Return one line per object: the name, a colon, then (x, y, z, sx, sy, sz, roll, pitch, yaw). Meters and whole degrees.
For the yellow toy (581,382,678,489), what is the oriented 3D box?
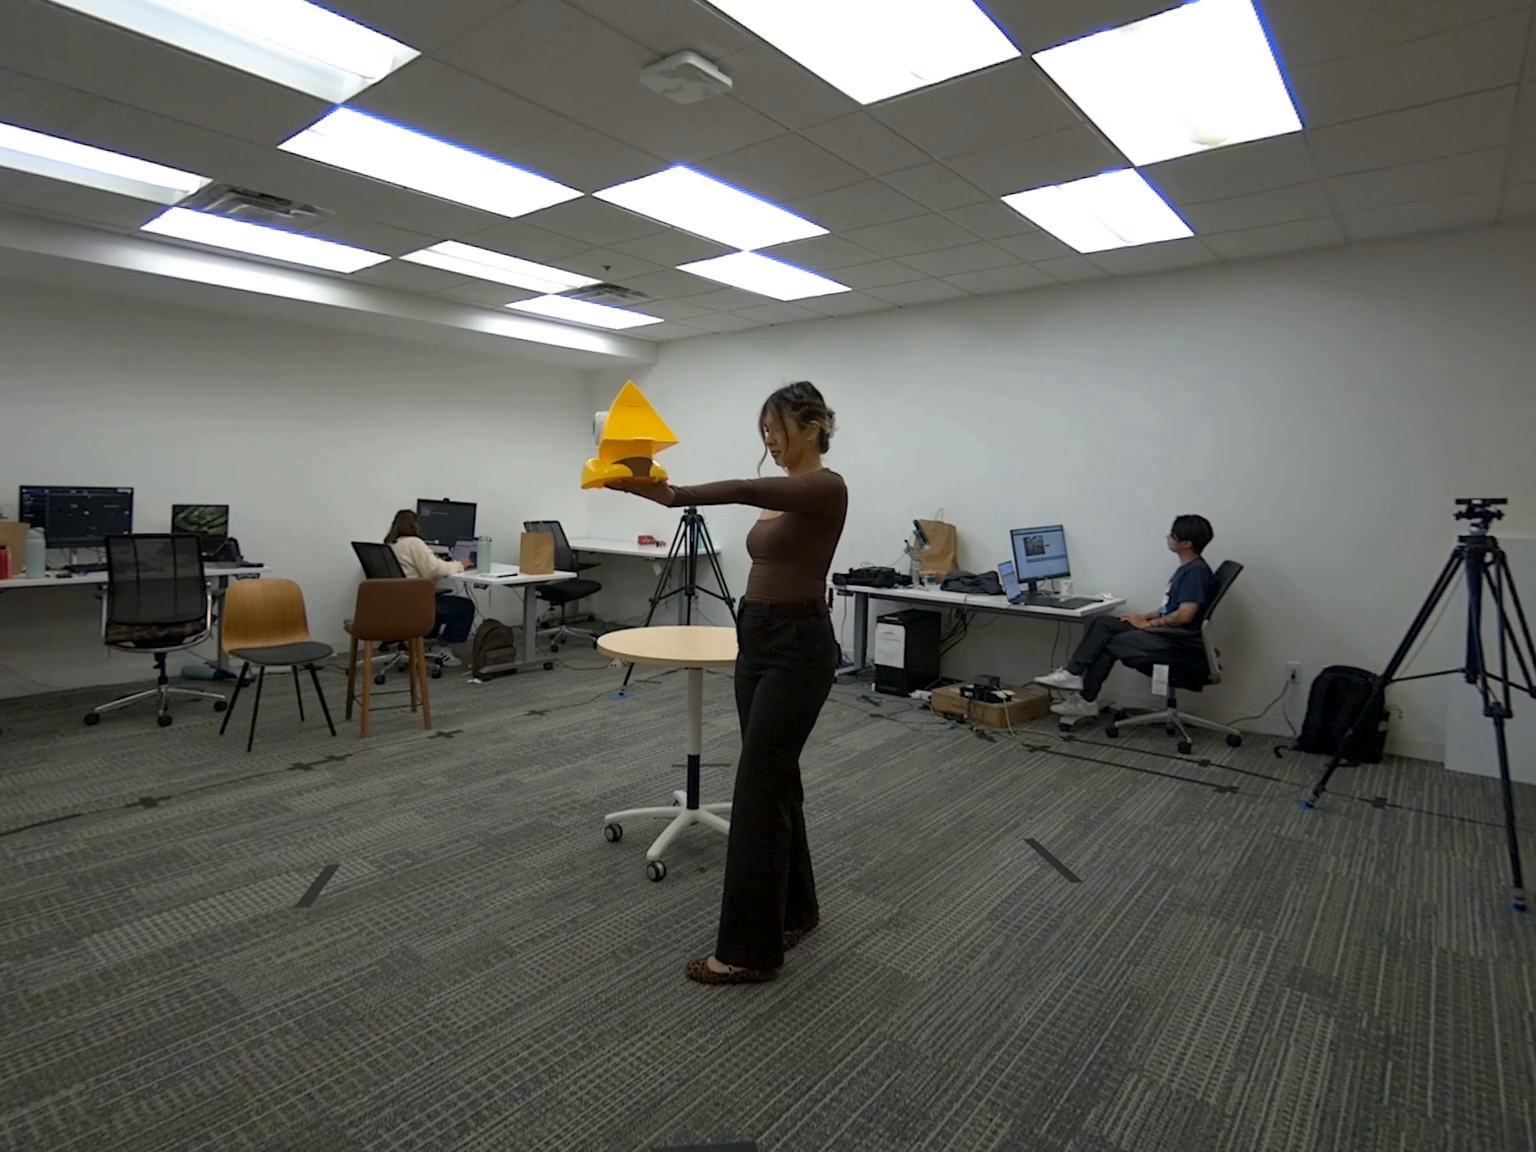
yellow toy: (-0.354, -0.337, 2.014, 0.199, 0.232, 0.197, -3, -6, -39)
